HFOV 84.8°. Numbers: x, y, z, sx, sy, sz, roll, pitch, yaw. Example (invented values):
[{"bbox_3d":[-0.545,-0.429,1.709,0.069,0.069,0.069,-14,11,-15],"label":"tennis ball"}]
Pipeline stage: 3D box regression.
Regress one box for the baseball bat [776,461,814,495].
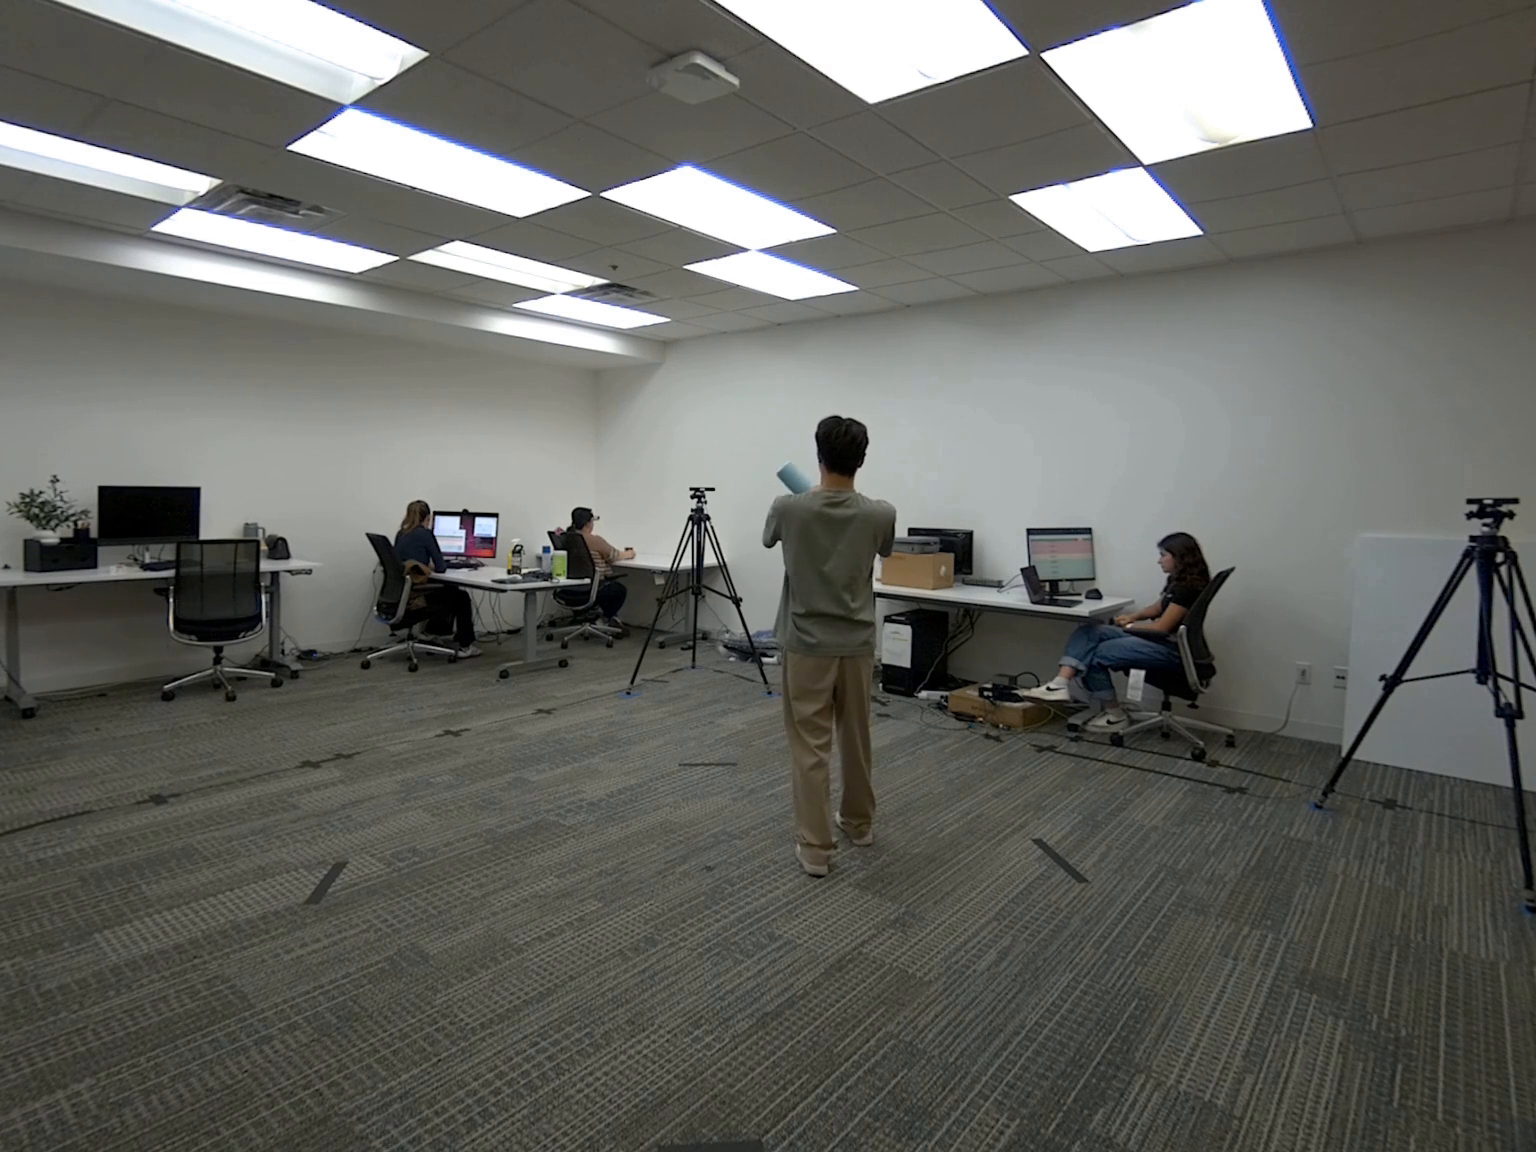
[{"bbox_3d":[0.243,-0.279,3.705,0.089,0.545,0.089,-43,-2,-3],"label":"baseball bat"}]
